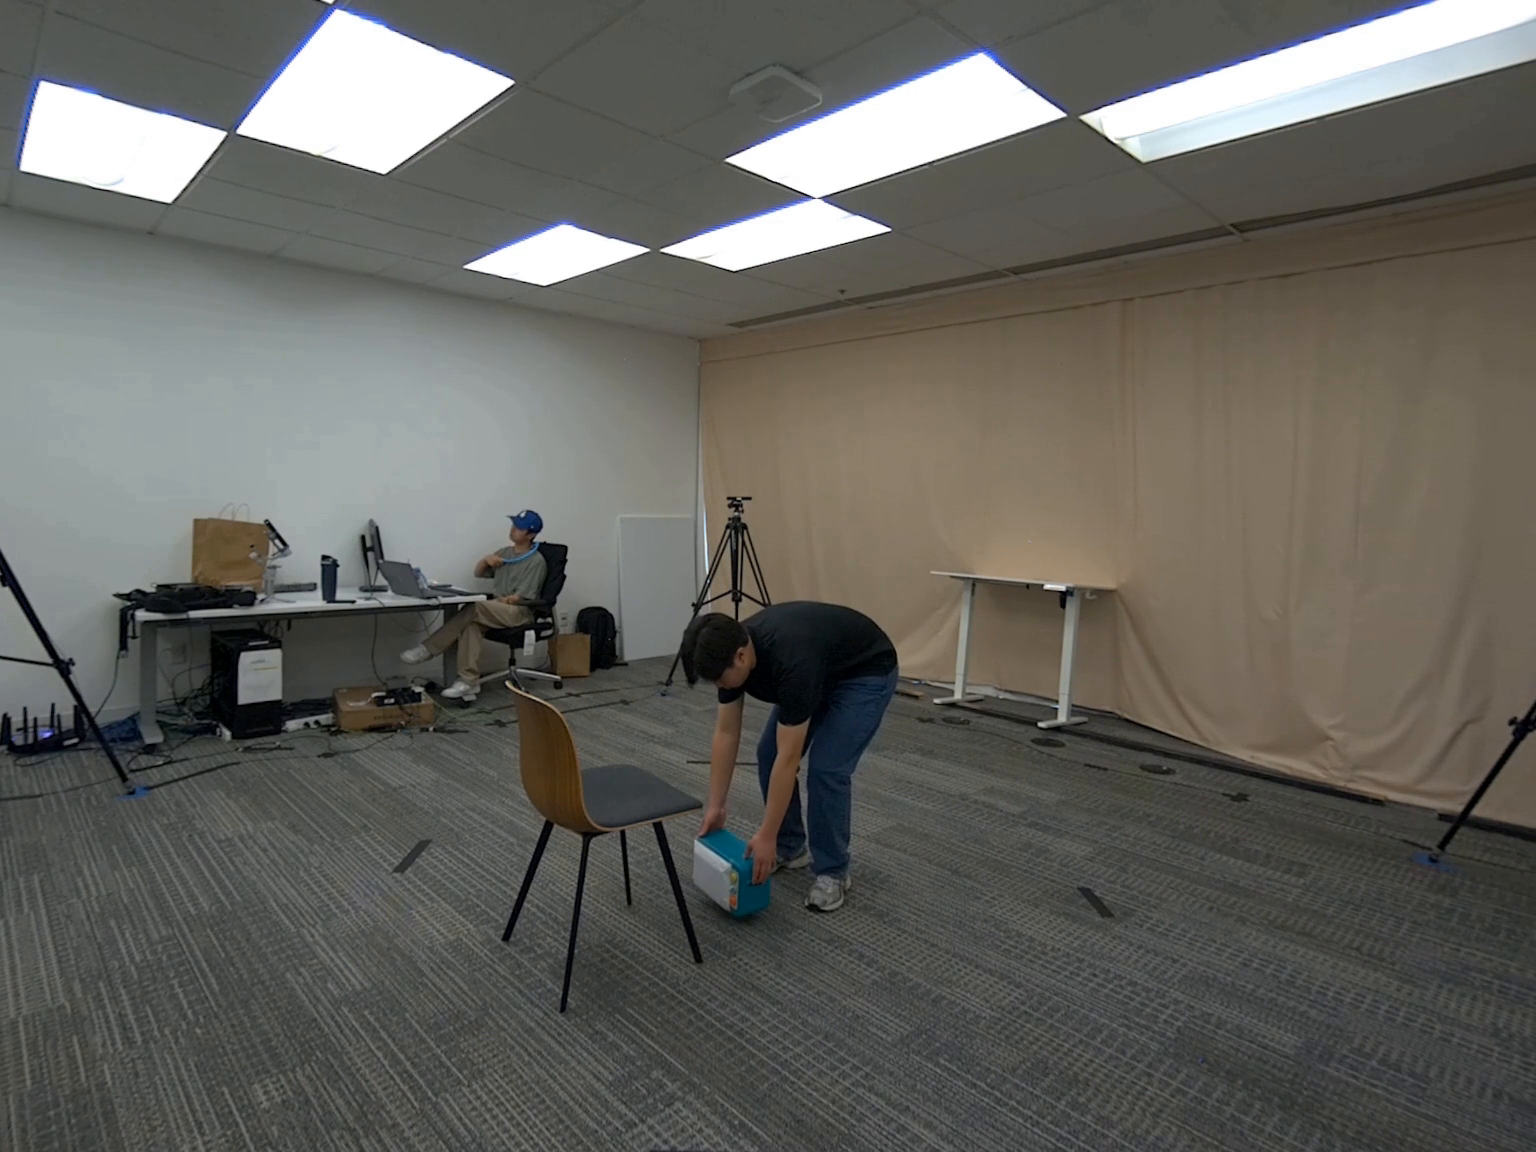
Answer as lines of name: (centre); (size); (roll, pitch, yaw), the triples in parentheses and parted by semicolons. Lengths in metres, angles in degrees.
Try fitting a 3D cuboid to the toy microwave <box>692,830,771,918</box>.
toy microwave: (-0.134, 1.000, 2.820); (0.149, 0.183, 0.294); (-3, 9, -36)
